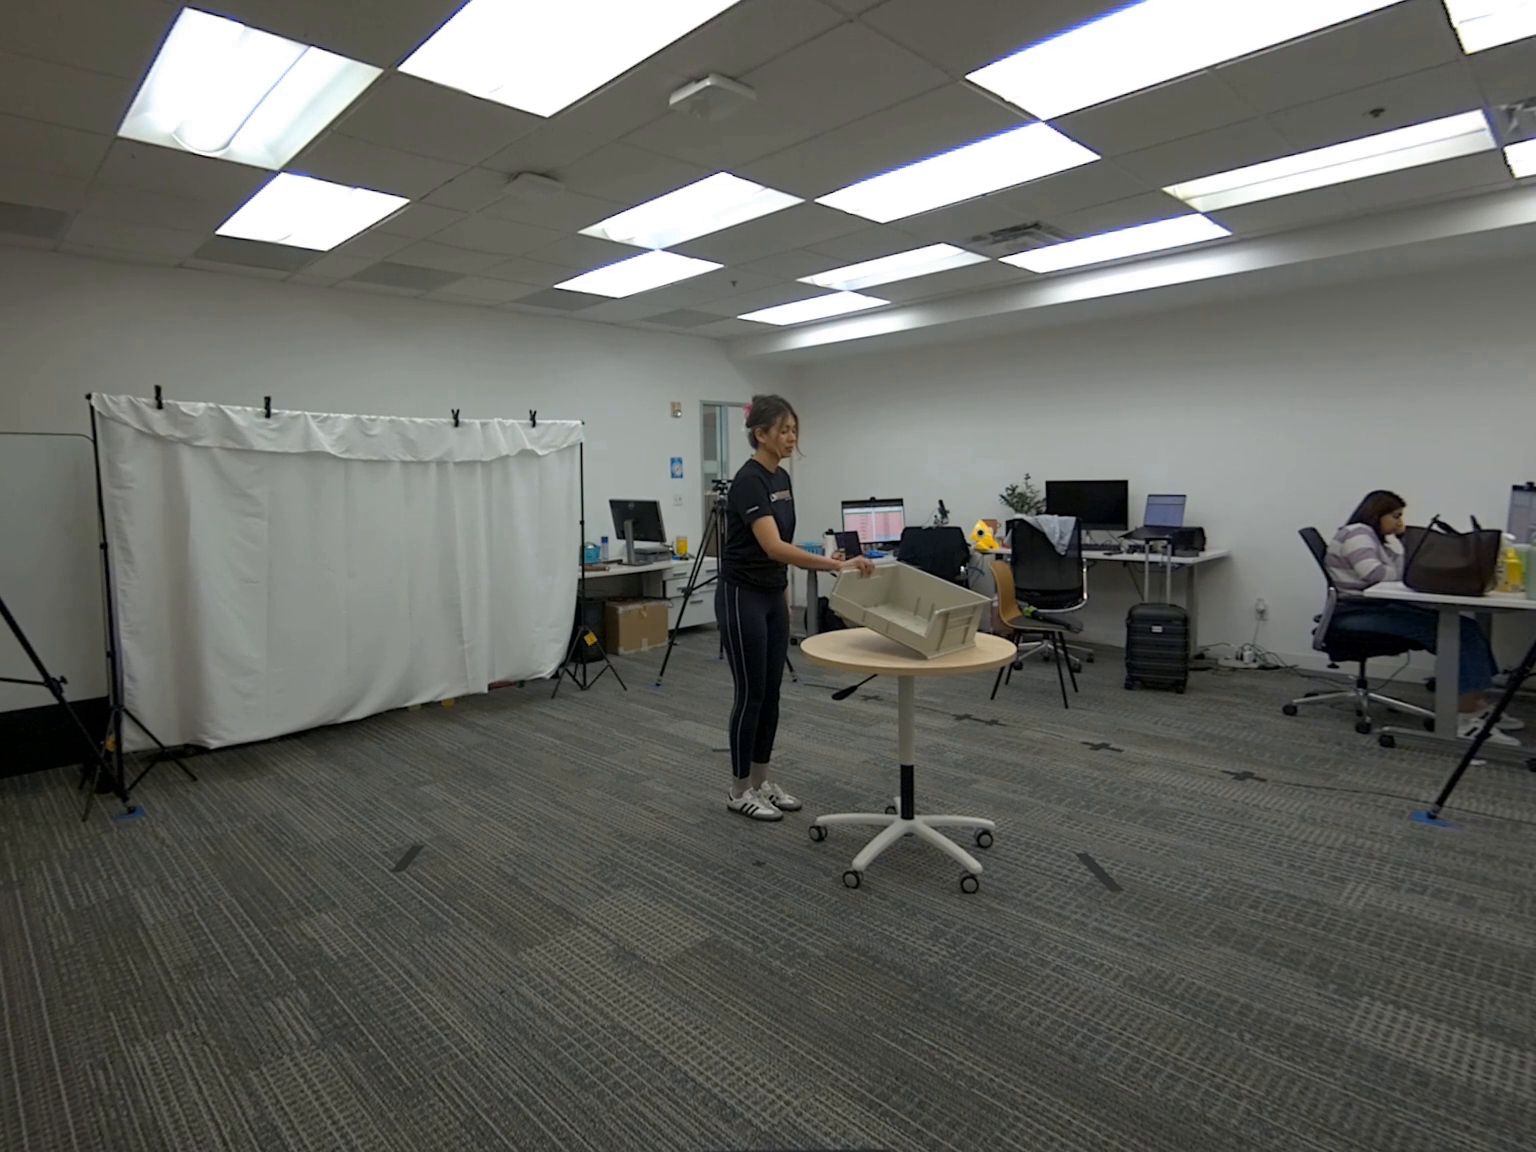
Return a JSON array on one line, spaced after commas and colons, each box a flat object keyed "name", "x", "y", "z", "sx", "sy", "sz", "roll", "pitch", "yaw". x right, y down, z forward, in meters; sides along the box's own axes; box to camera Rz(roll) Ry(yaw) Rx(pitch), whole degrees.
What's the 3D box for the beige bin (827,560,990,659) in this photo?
[{"name": "beige bin", "x": 0.502, "y": 0.114, "z": 3.052, "sx": 0.367, "sy": 0.187, "sz": 0.438, "roll": -5, "pitch": 22, "yaw": -45}]
